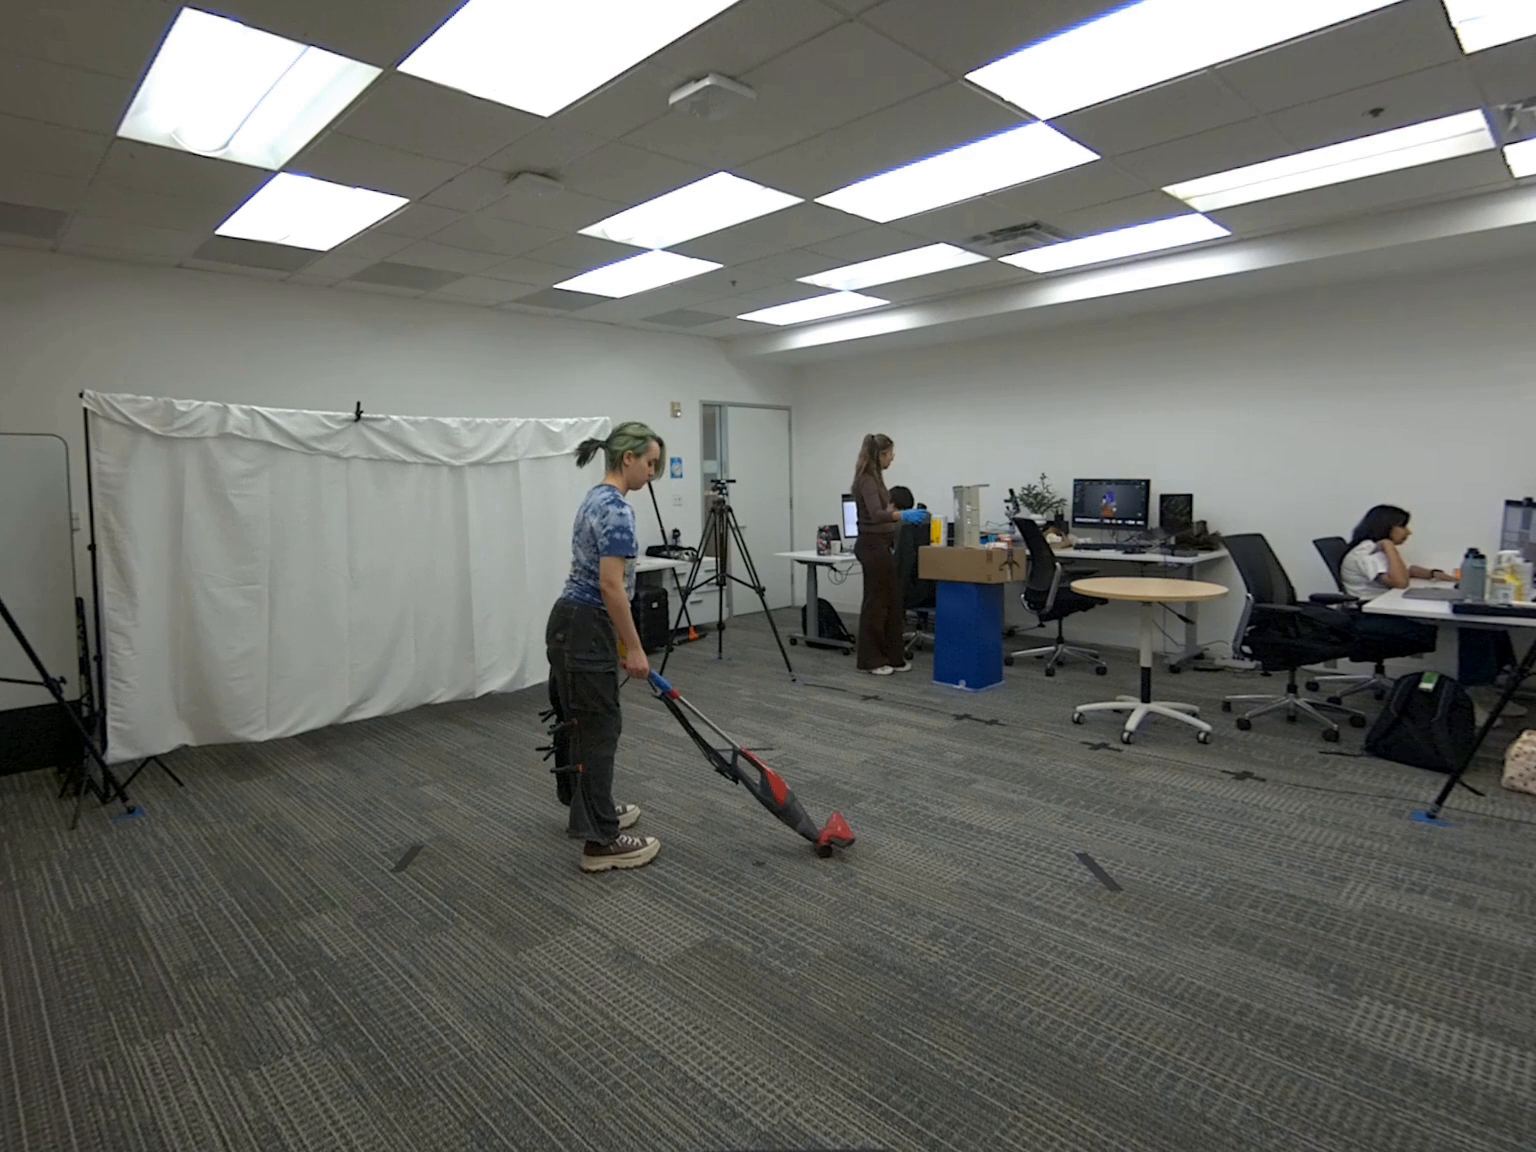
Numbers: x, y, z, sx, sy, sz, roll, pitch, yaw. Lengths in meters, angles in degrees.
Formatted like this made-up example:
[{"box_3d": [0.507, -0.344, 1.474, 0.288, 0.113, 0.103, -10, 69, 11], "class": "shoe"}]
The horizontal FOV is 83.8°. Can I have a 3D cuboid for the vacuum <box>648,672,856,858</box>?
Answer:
[{"box_3d": [-0.144, 0.665, 3.161, 1.042, 0.144, 0.254, 39, -2, -5], "class": "vacuum"}]
